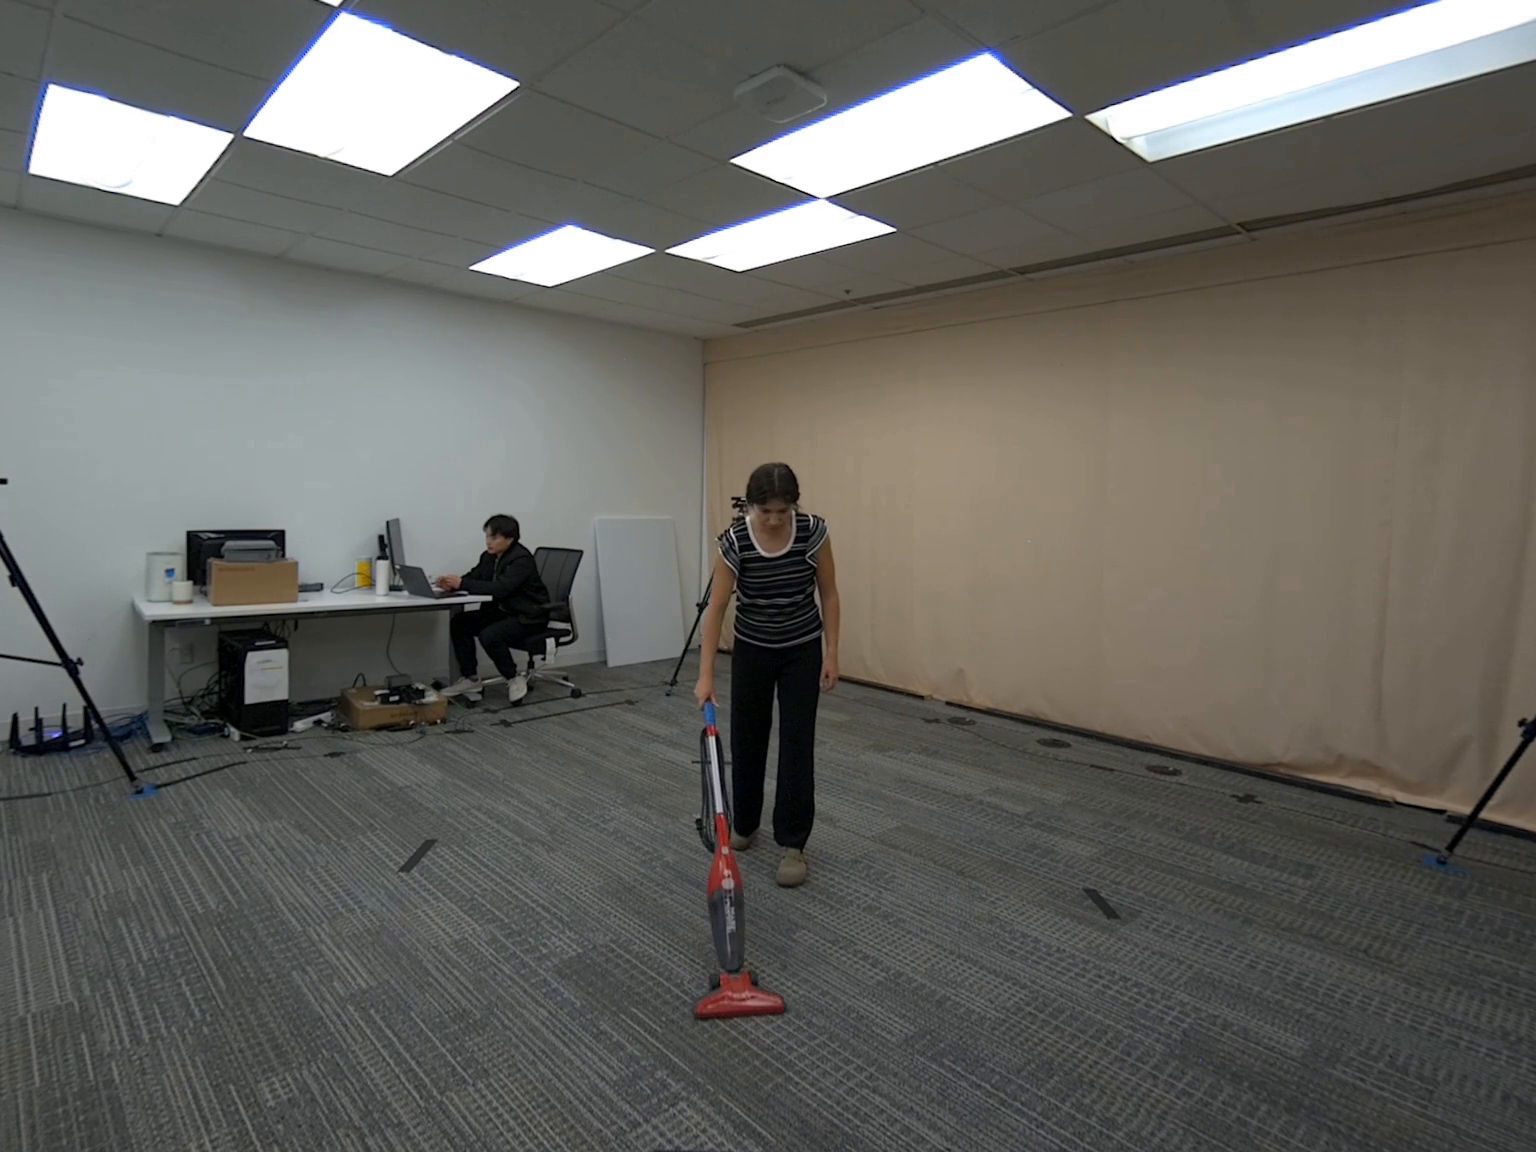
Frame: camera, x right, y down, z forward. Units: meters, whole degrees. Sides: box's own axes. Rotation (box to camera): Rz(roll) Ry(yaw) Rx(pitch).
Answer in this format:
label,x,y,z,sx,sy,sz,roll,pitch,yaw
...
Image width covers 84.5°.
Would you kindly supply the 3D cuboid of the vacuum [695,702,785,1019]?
label,x,y,z,sx,sy,sz,roll,pitch,yaw
vacuum,-0.168,0.796,2.720,0.251,0.141,1.077,-2,44,-9
